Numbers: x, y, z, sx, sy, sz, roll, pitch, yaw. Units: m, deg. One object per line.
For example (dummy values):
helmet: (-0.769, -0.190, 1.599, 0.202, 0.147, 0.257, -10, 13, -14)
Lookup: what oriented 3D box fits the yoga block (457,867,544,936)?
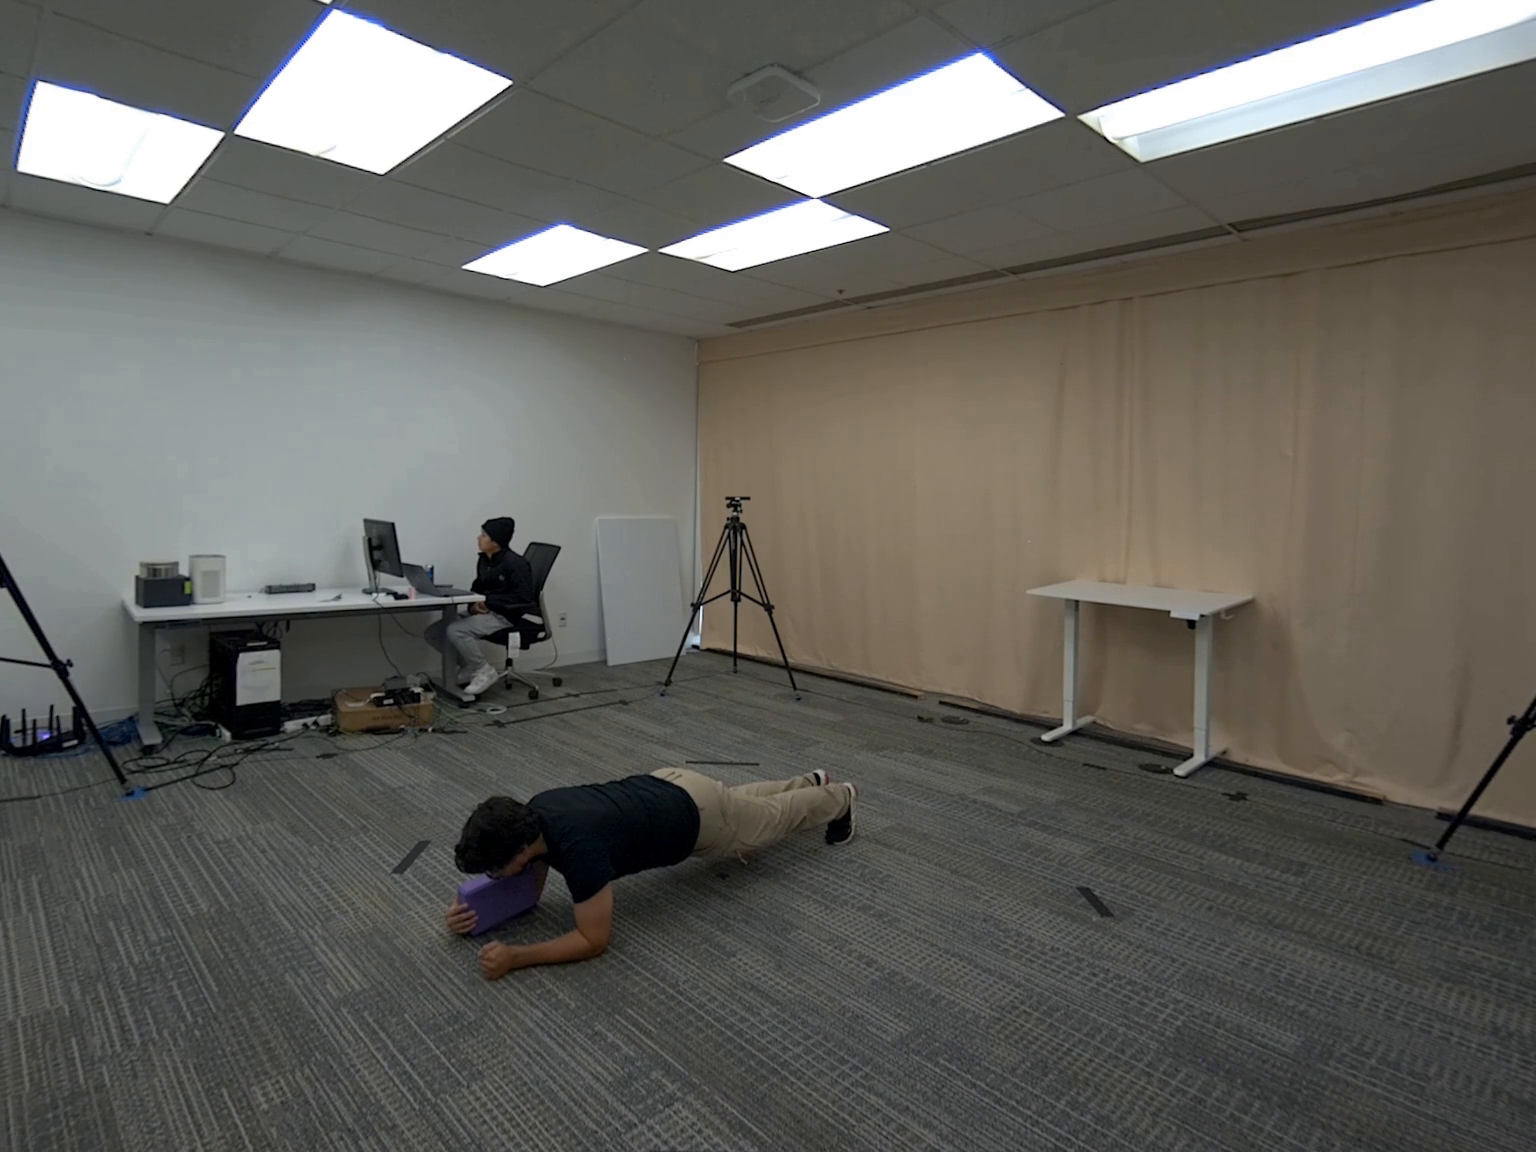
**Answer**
yoga block: (-0.866, 1.019, 2.699, 0.225, 0.148, 0.078, -12, 13, -38)
